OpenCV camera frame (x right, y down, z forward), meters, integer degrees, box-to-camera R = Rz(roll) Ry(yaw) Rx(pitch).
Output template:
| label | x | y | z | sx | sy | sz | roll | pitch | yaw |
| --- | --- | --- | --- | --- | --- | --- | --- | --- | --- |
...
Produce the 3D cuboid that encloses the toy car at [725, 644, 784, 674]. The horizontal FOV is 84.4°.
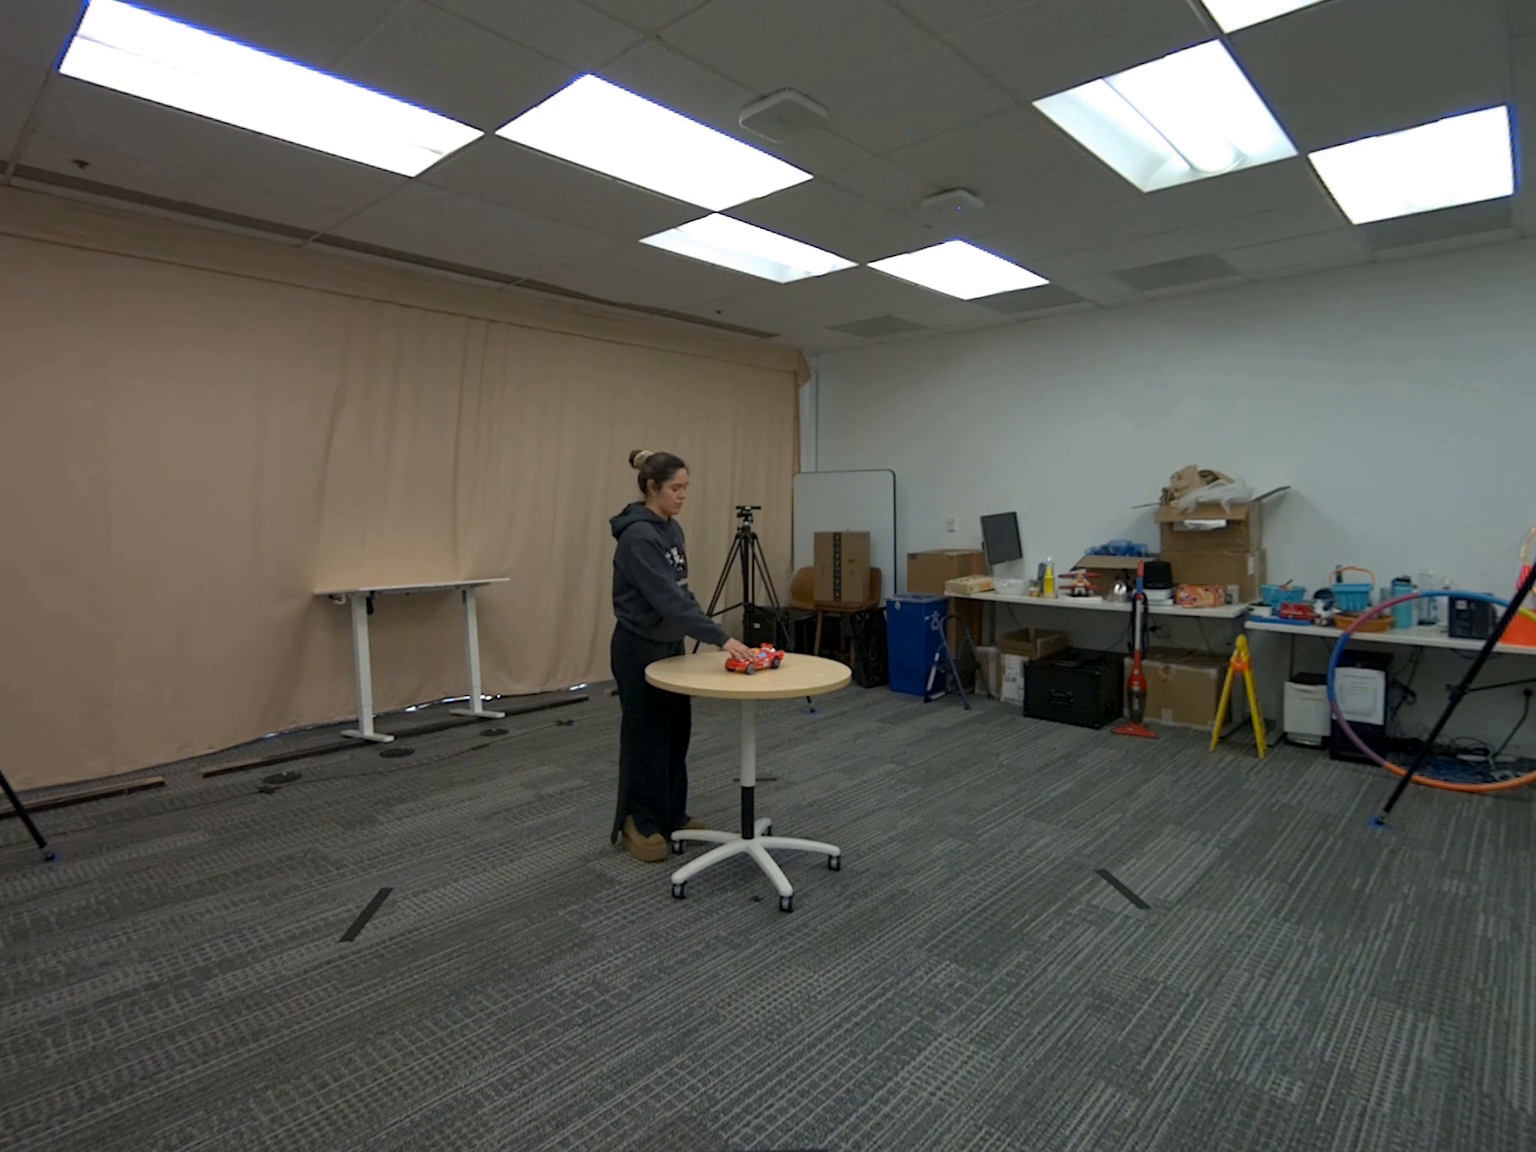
| label | x | y | z | sx | sy | sz | roll | pitch | yaw |
| --- | --- | --- | --- | --- | --- | --- | --- | --- | --- |
| toy car | -0.025 | 0.315 | 3.147 | 0.135 | 0.082 | 0.248 | 4 | 18 | 43 |
